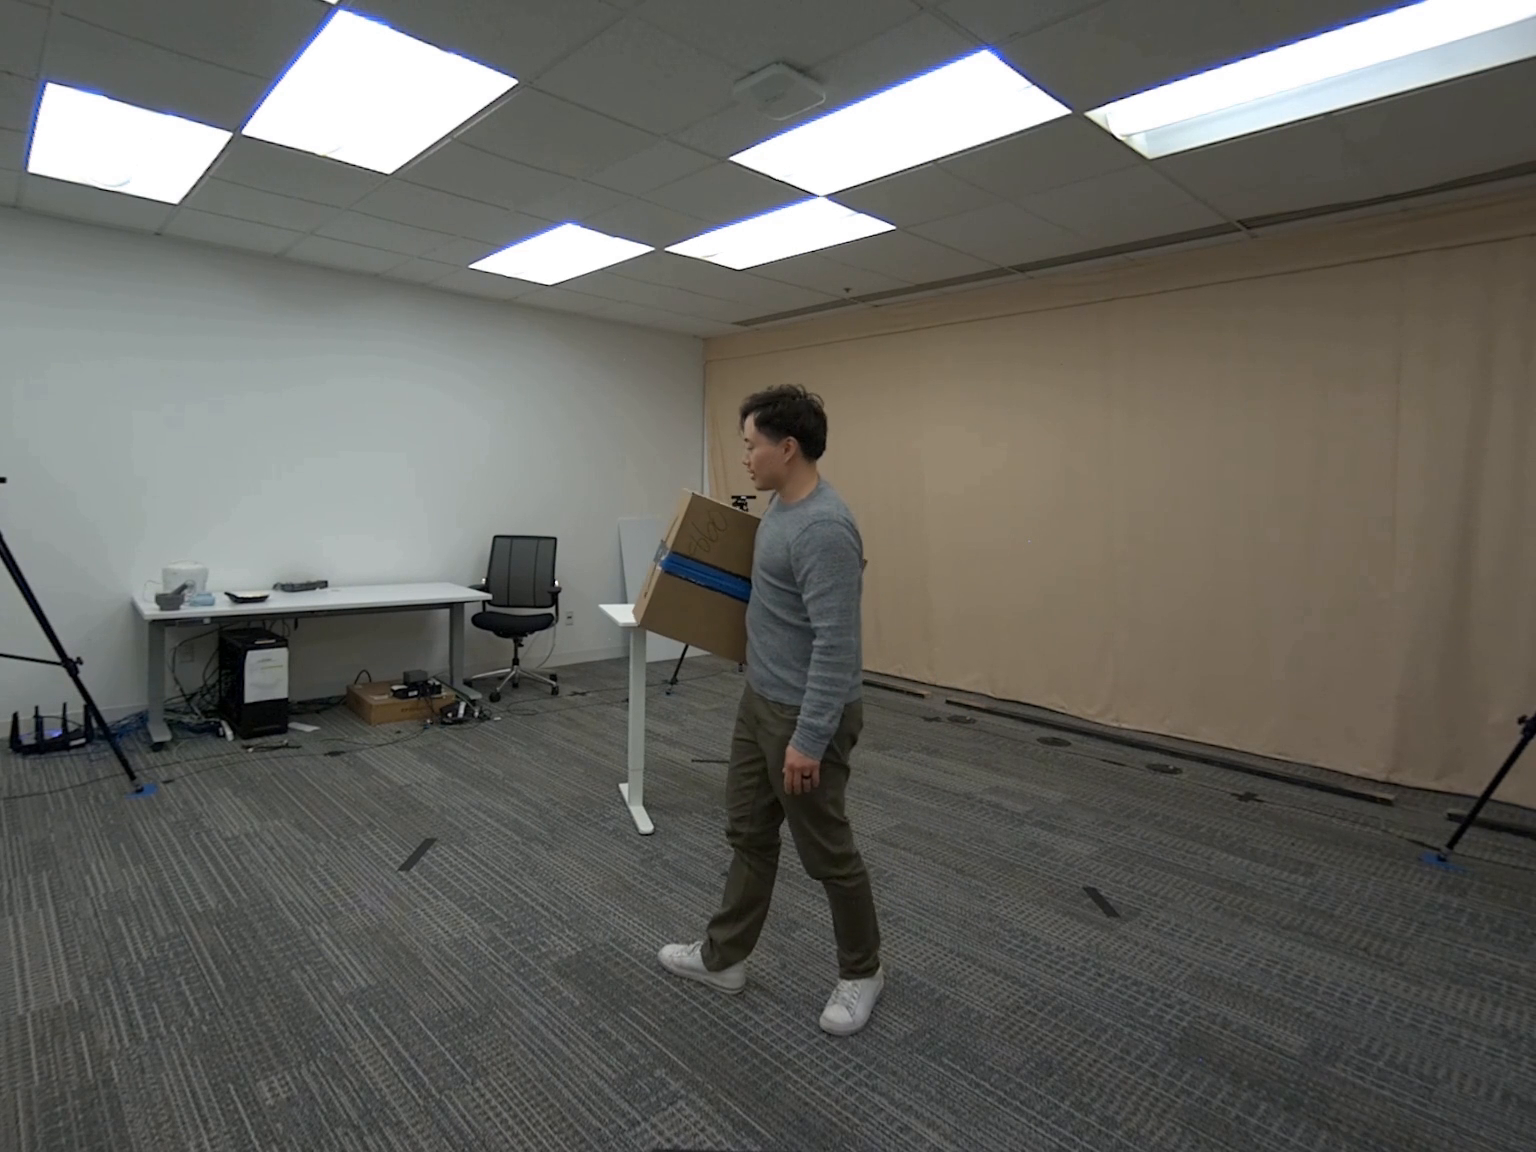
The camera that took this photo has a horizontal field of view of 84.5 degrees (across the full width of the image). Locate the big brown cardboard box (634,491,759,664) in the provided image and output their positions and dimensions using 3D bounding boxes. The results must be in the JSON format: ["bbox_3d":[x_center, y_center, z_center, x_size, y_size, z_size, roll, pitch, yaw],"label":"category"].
[{"bbox_3d":[-0.064,0.033,2.543,0.581,0.417,0.236,21,5,-13],"label":"big brown cardboard box"}]
